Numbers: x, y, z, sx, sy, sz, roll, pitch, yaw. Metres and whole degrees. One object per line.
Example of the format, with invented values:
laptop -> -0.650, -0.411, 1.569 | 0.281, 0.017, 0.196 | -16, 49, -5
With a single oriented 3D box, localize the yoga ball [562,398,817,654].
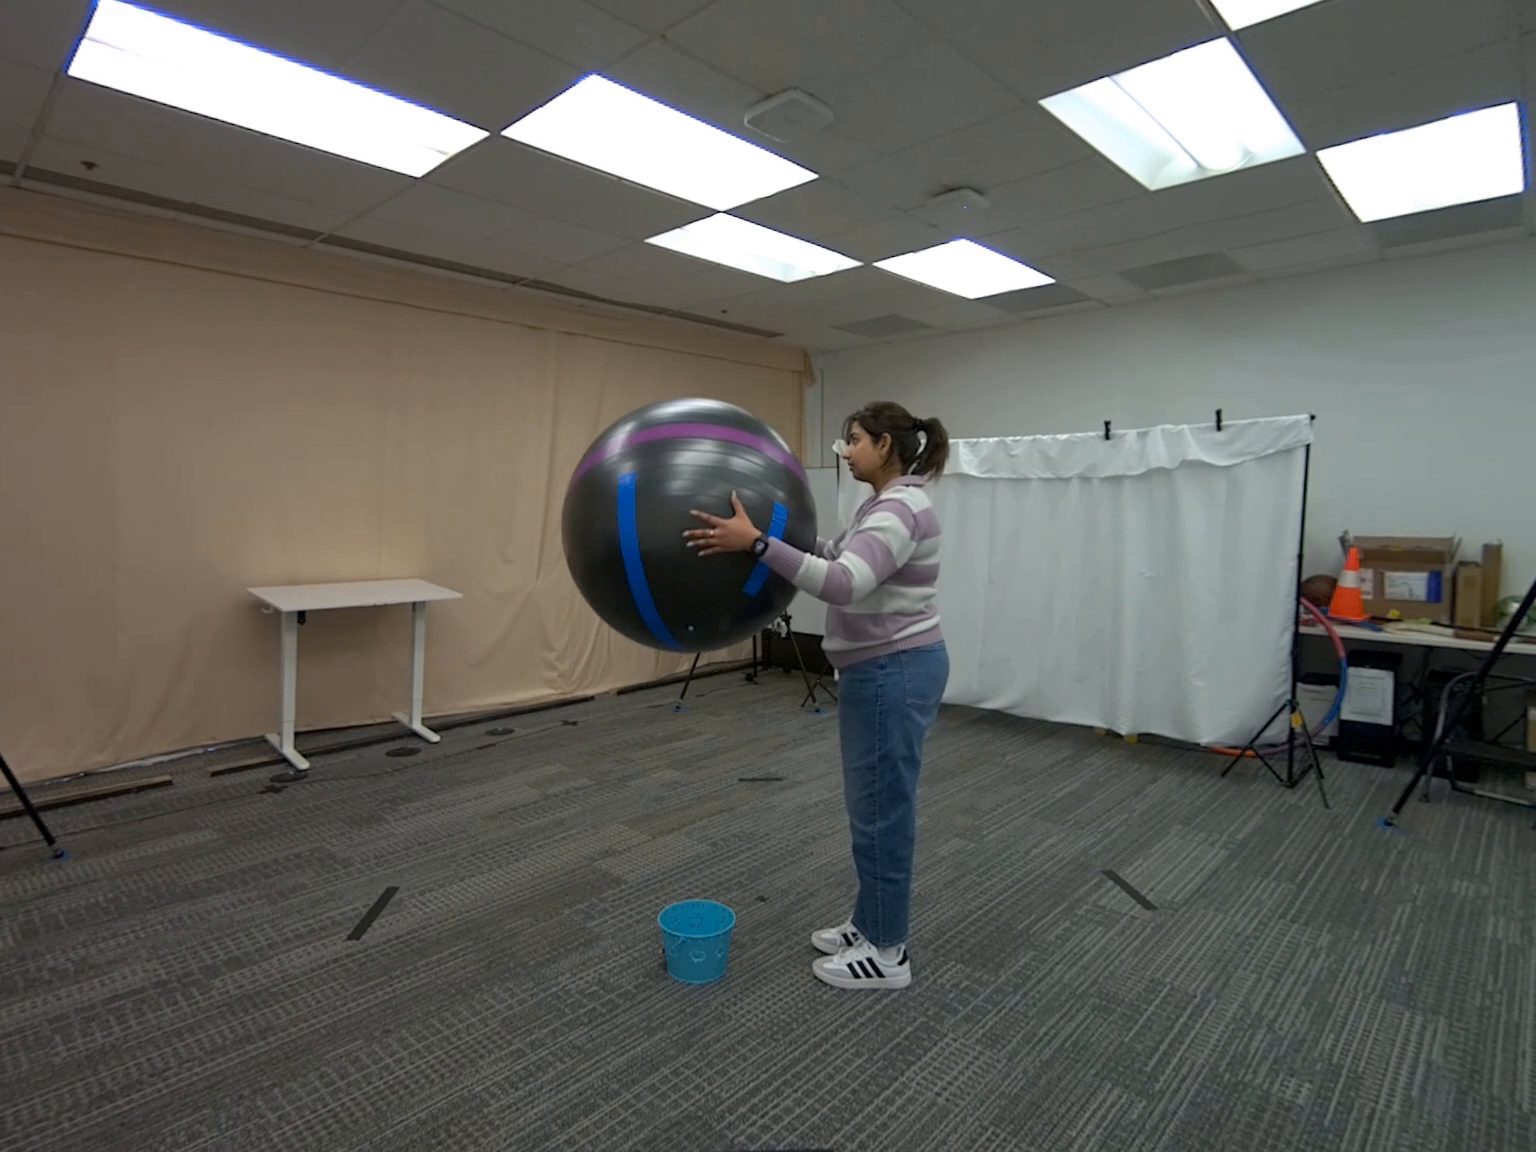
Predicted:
yoga ball -> -0.233, -0.140, 2.525 | 0.757, 0.756, 0.761 | 0, 4, -2
